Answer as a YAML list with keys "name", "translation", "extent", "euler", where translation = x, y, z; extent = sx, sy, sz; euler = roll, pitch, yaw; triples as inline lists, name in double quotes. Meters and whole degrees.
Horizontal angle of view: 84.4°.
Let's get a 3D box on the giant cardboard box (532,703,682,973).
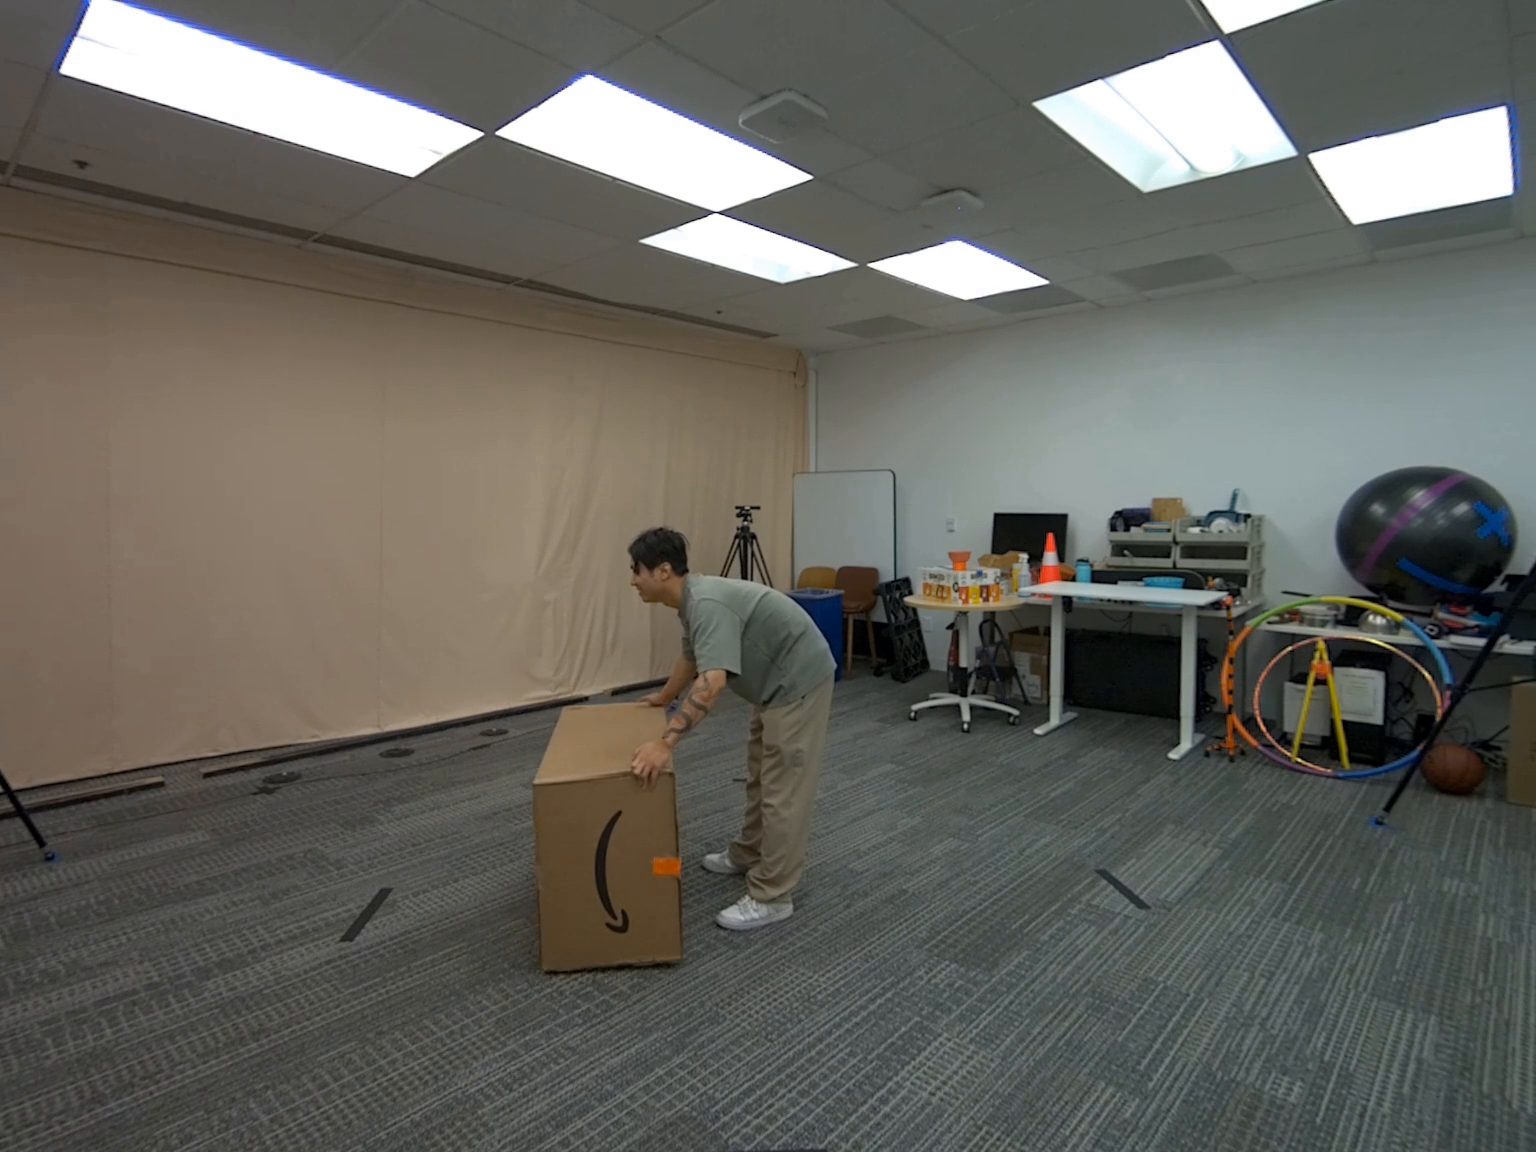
- name: "giant cardboard box"
  translation: [-0.555, 0.838, 3.002]
  extent: [0.423, 0.577, 1.035]
  euler: [-1, 3, -9]
